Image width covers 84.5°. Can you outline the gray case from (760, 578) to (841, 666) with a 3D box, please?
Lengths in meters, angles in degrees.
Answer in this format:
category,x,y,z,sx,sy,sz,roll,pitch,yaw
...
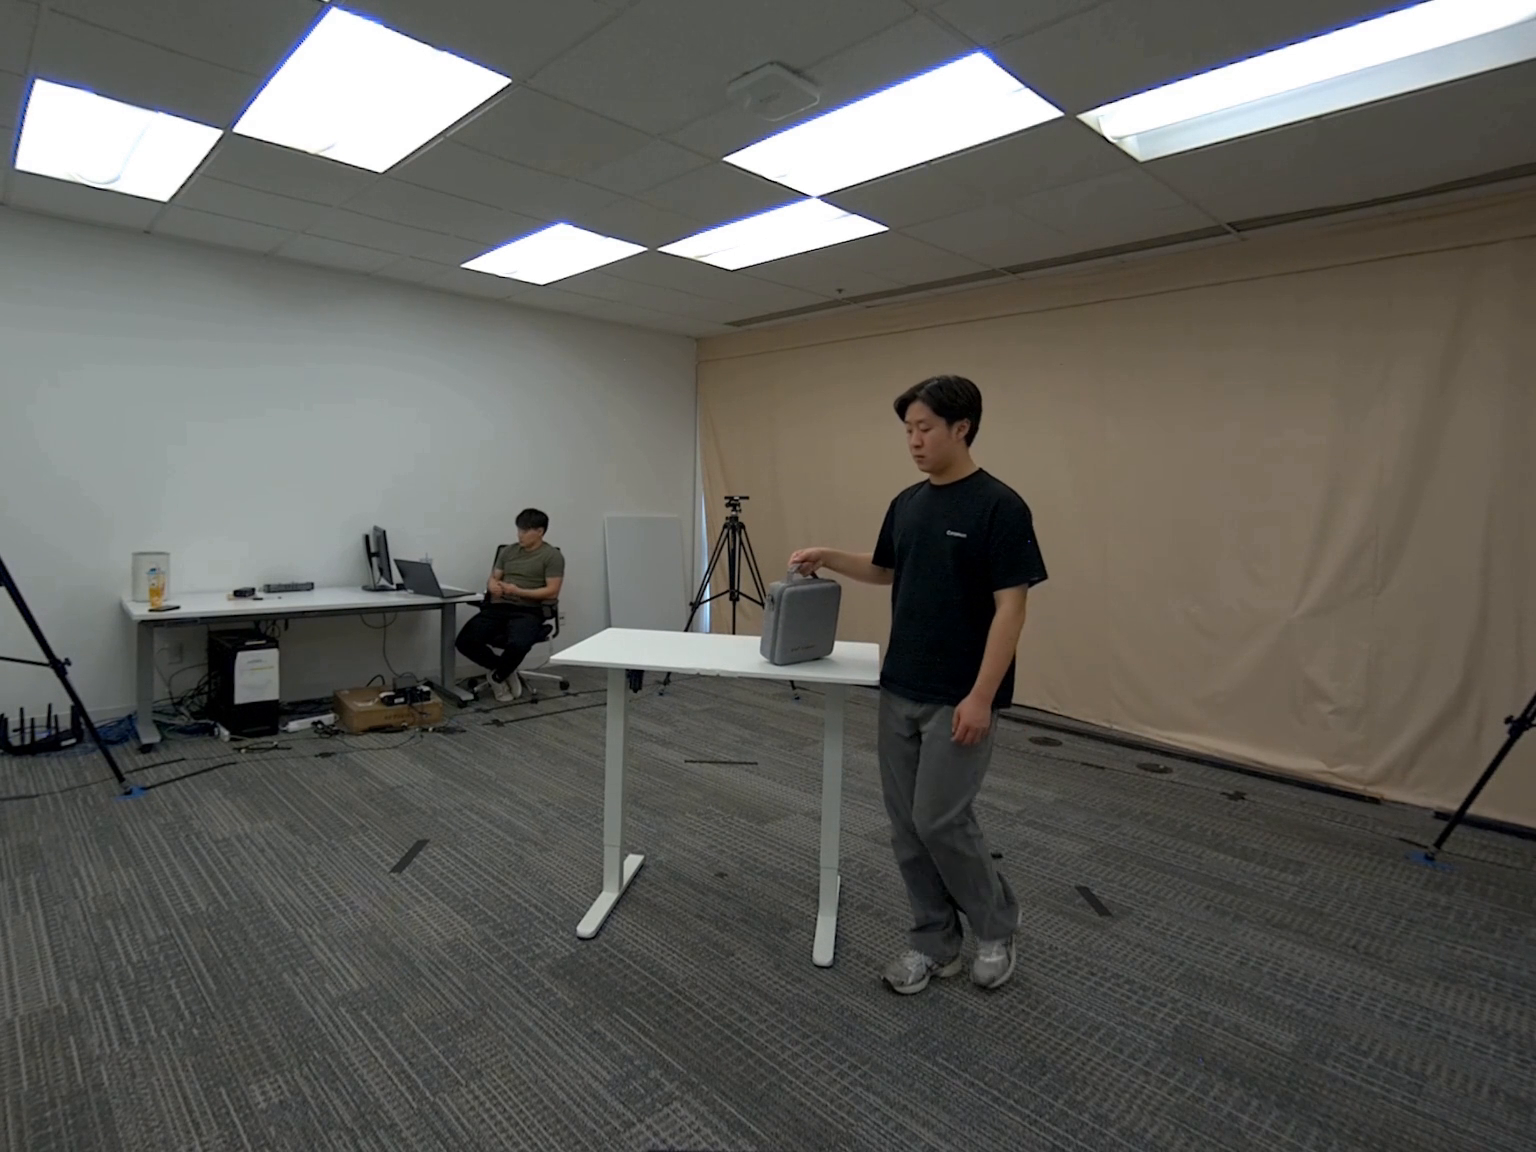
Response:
category,x,y,z,sx,sy,sz,roll,pitch,yaw
gray case,0.099,0.127,2.643,0.257,0.285,0.106,-5,14,-42
